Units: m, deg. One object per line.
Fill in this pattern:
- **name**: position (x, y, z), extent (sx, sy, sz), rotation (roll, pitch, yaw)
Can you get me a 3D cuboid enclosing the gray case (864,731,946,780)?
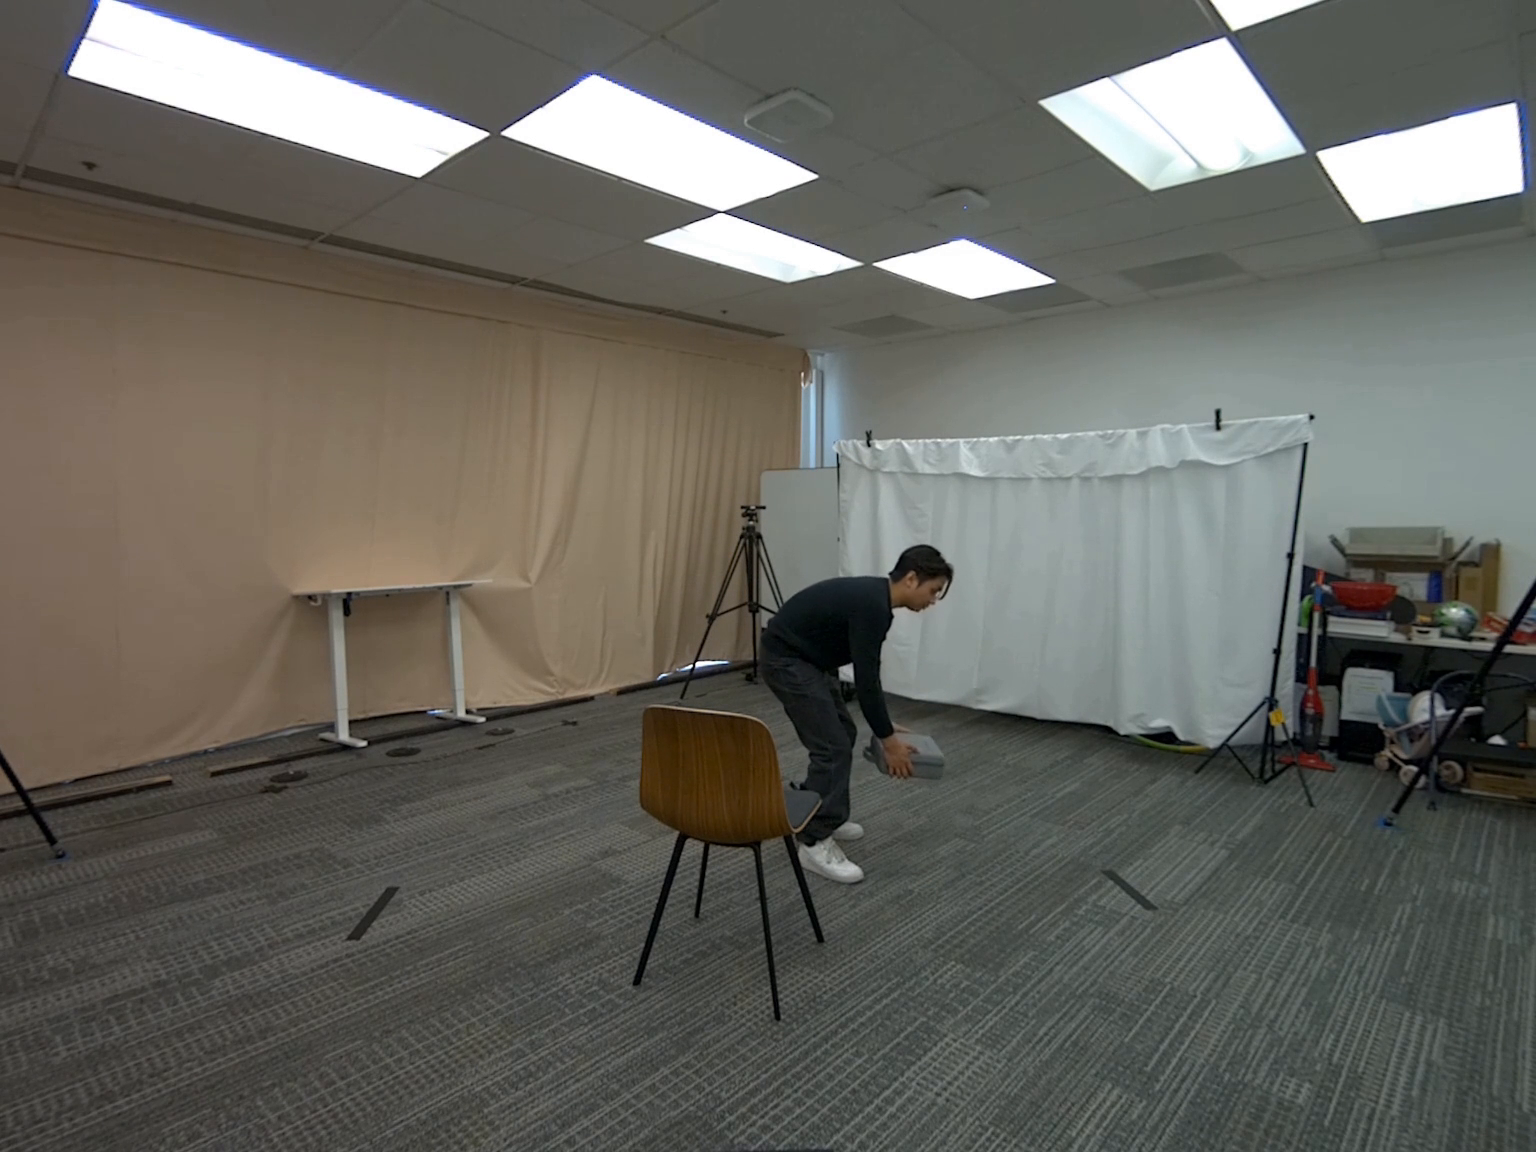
- **gray case**: position (0.548, 0.705, 3.325), extent (0.261, 0.104, 0.258), rotation (6, 8, -1)
